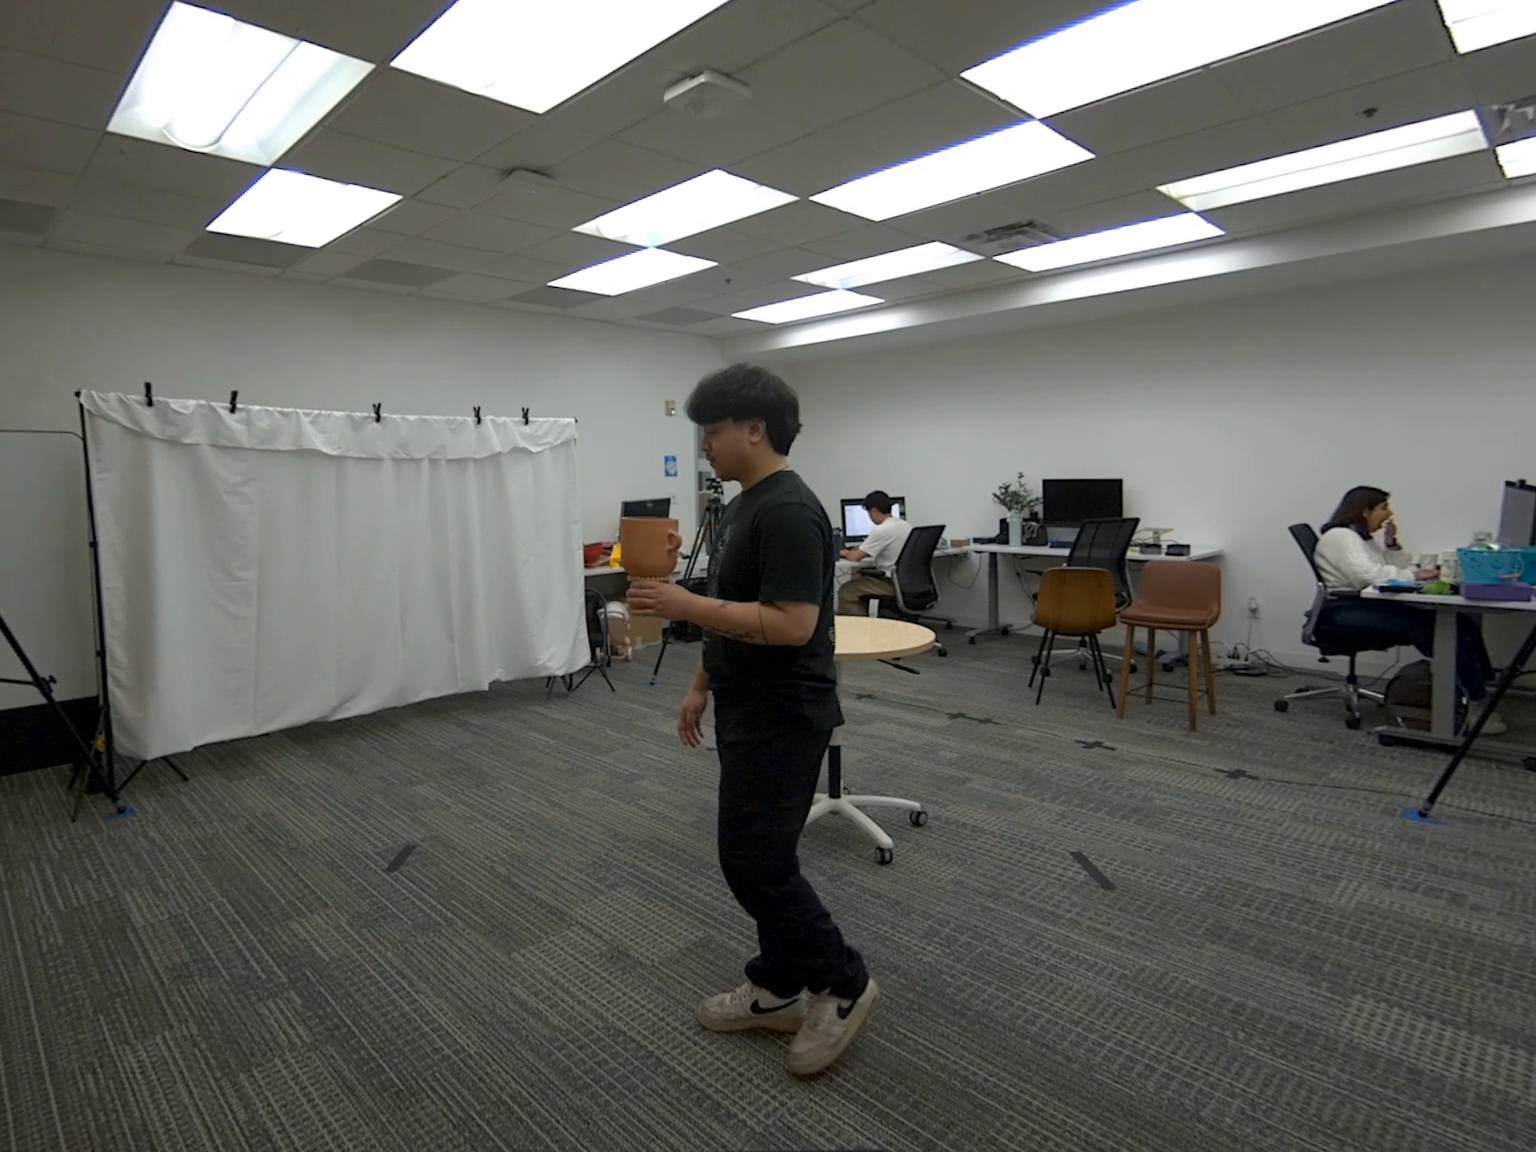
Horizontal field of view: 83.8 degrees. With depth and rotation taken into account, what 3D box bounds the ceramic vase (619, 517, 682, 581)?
[{"bbox_3d":[-0.278,-0.024,1.987,0.133,0.219,0.161,0,4,-9],"label":"ceramic vase"}]
